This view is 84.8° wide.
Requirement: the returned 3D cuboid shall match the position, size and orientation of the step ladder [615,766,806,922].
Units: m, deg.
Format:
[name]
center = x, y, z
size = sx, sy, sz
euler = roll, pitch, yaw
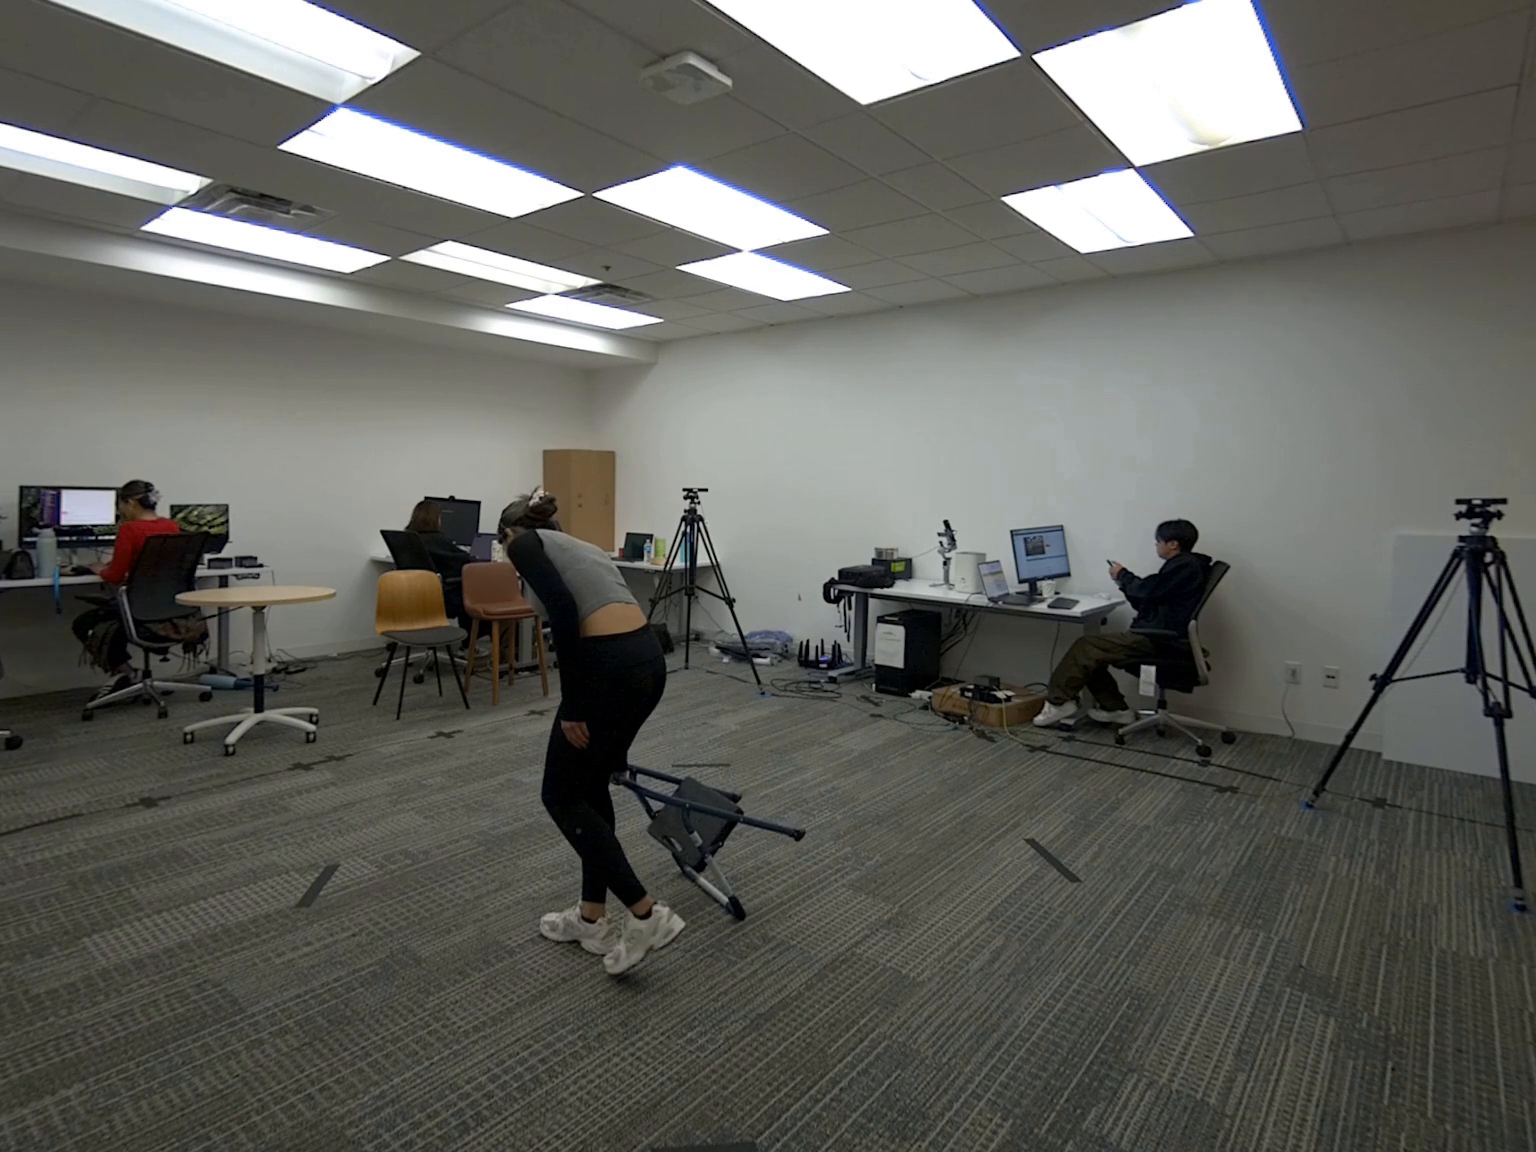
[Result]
[step ladder]
center = -0.279, 0.767, 2.847
size = 0.587, 0.350, 0.444
euler = 48, -21, -25
